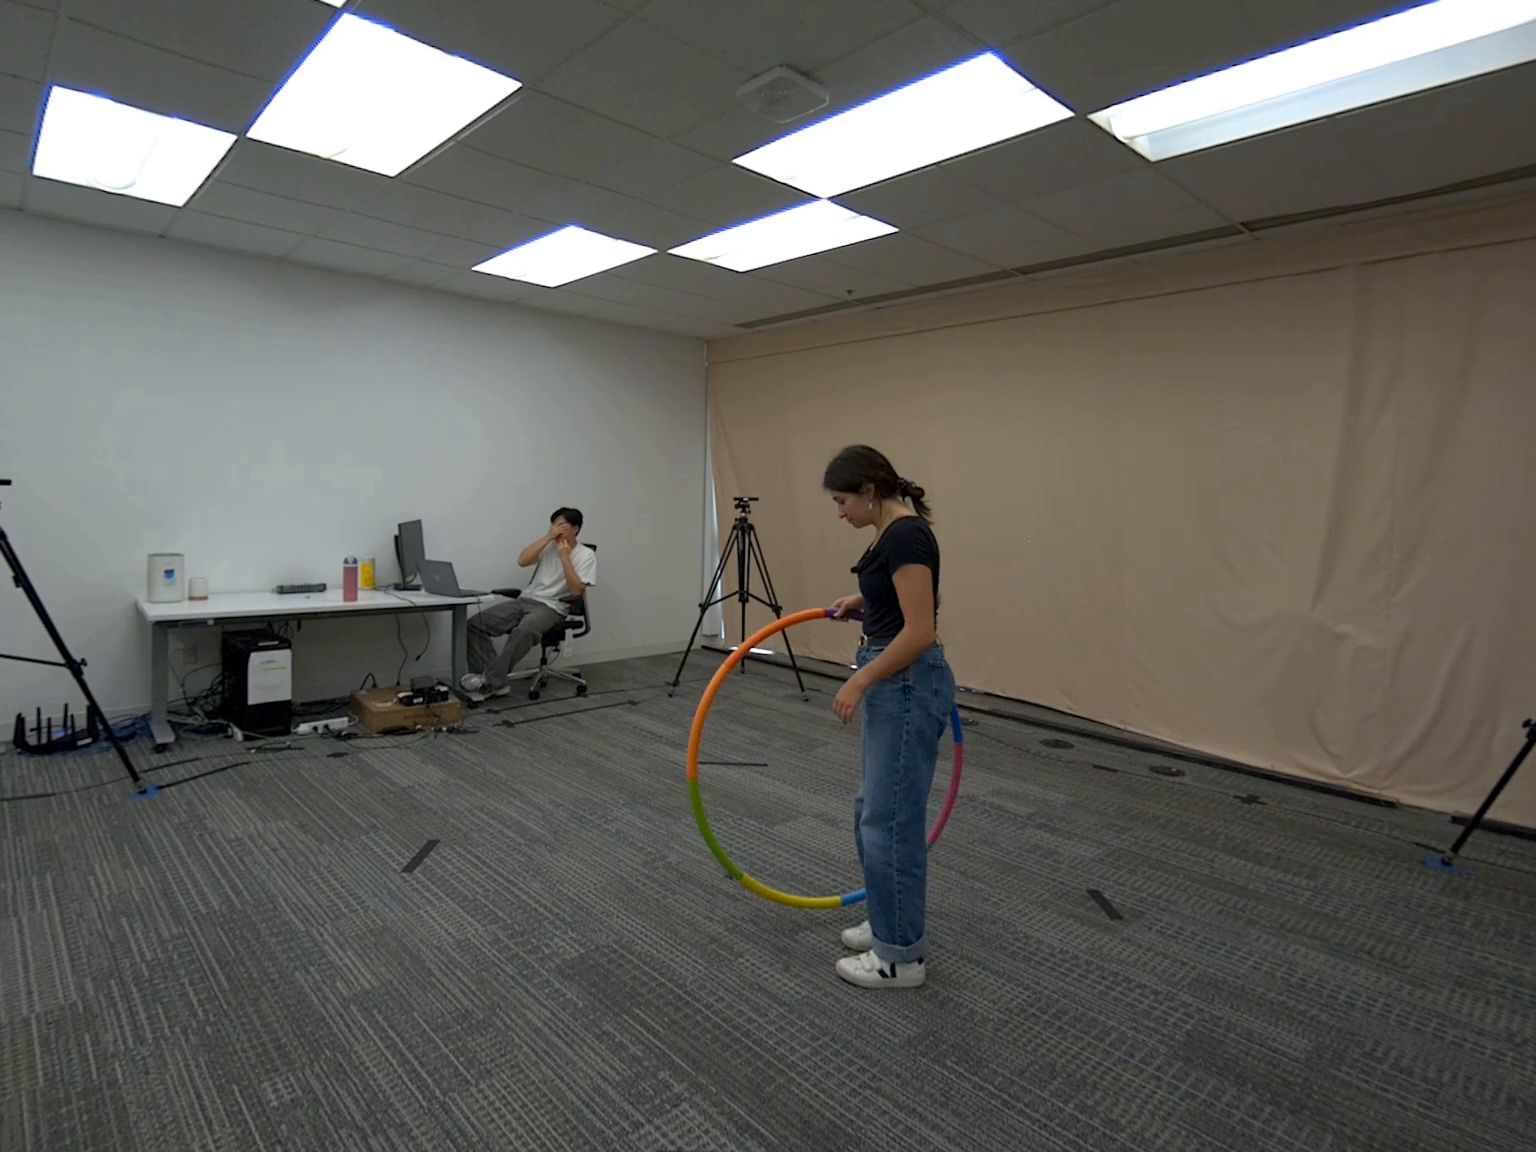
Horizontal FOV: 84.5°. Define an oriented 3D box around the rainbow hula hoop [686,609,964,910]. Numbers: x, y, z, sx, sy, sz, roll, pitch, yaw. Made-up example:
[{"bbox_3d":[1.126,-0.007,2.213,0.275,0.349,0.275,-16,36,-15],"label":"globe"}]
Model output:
[{"bbox_3d":[0.198,0.610,2.786,0.966,0.978,0.036,0,0,-16],"label":"rainbow hula hoop"}]
